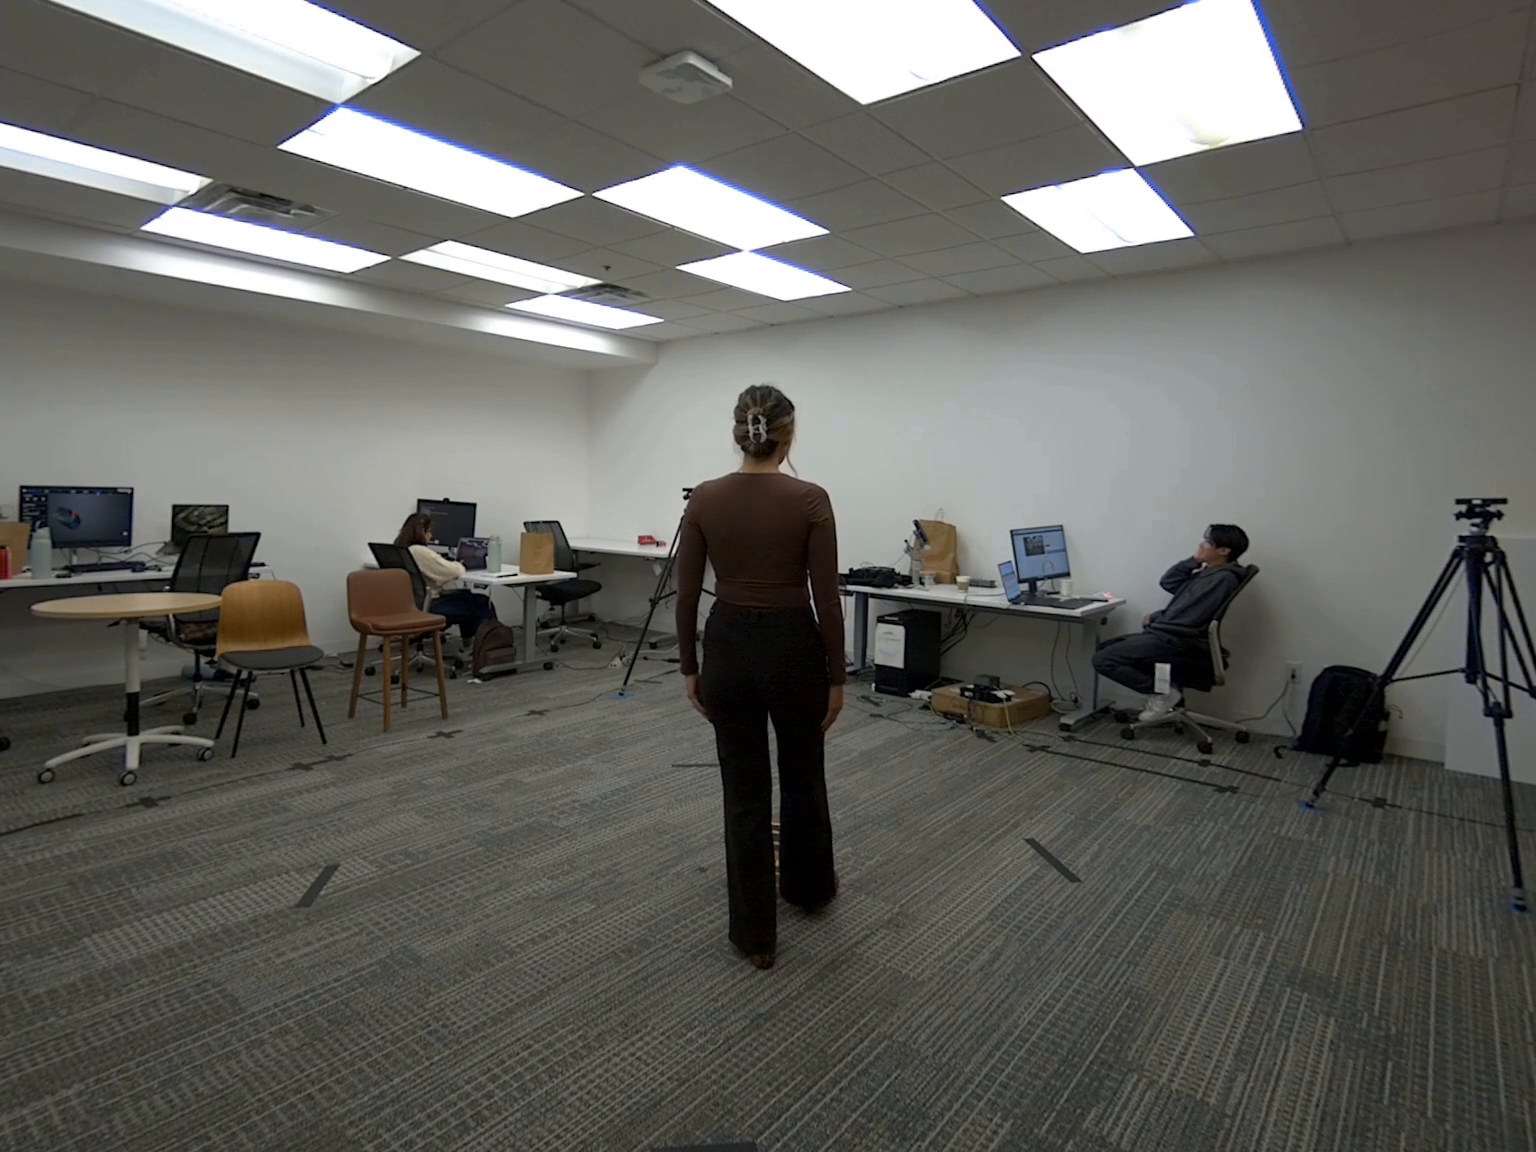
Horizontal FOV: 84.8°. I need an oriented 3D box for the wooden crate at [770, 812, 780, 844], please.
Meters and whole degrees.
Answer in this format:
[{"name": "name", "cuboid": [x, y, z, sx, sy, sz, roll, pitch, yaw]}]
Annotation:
[{"name": "wooden crate", "cuboid": [0.023, 0.943, 3.029, 0.330, 0.272, 0.298, 2, 5, 14]}]
